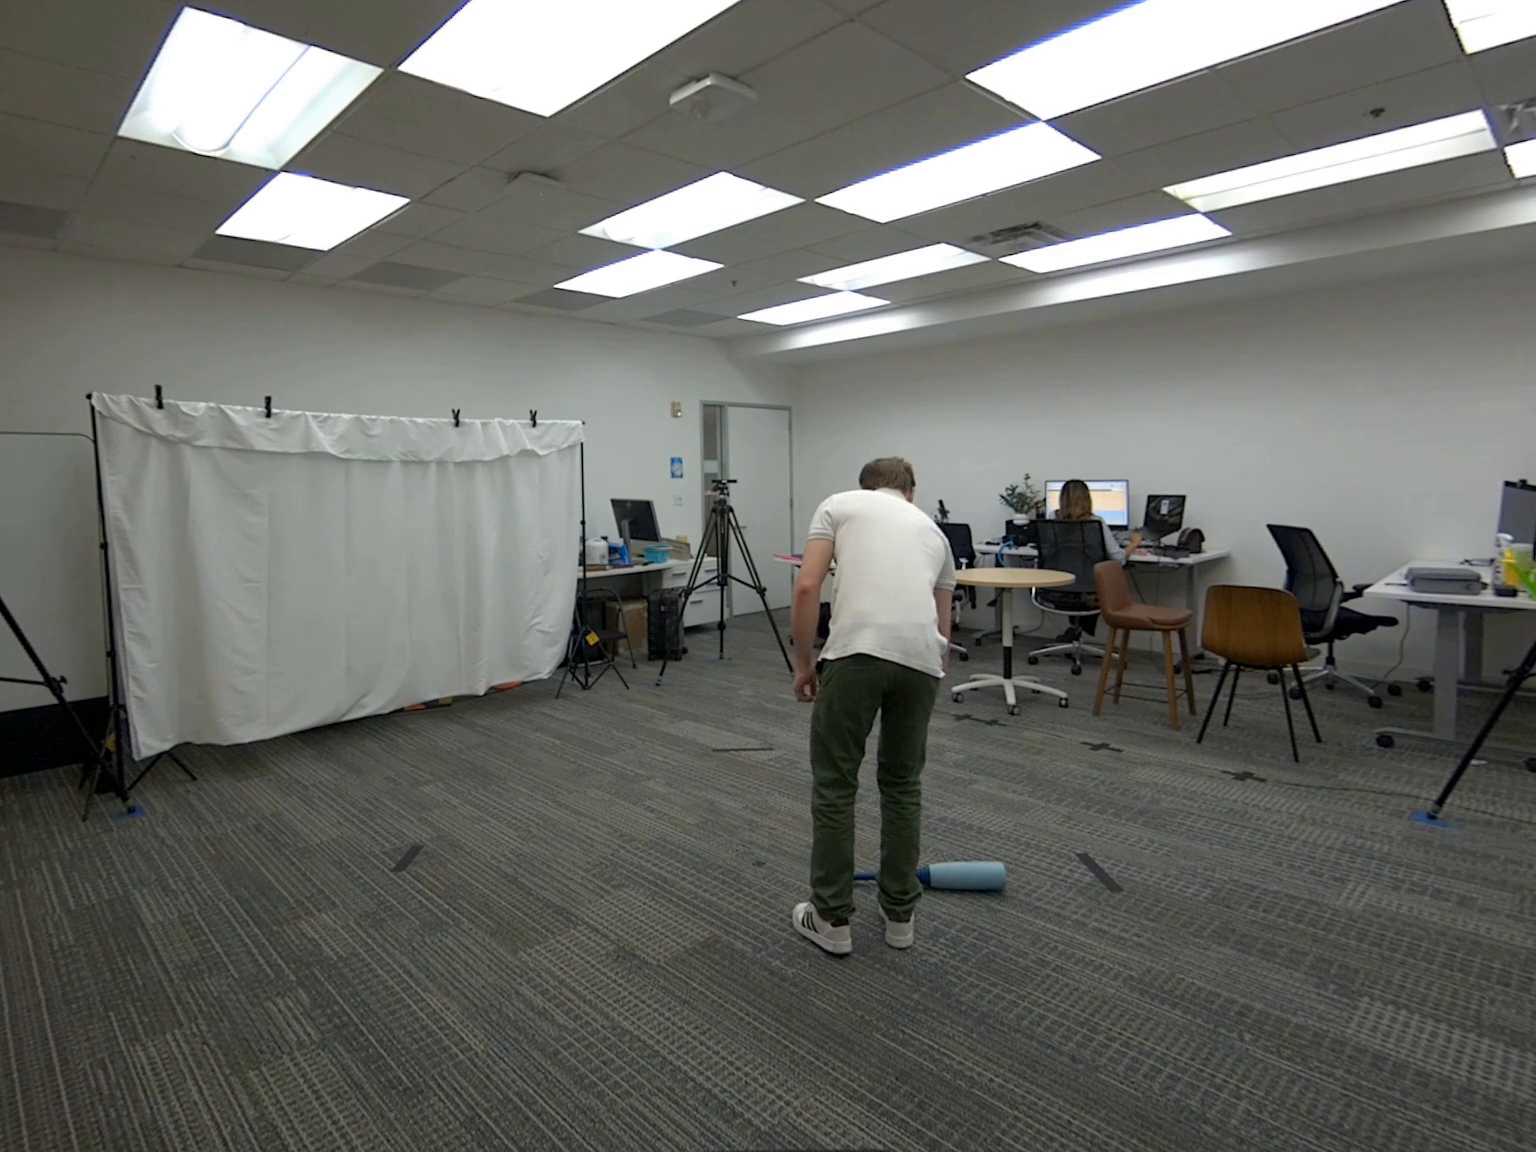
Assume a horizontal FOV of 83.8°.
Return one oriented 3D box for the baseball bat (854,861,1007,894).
[{"bbox_3d":[0.532,1.023,2.908,0.547,0.089,0.089,-3,4,7],"label":"baseball bat"}]
